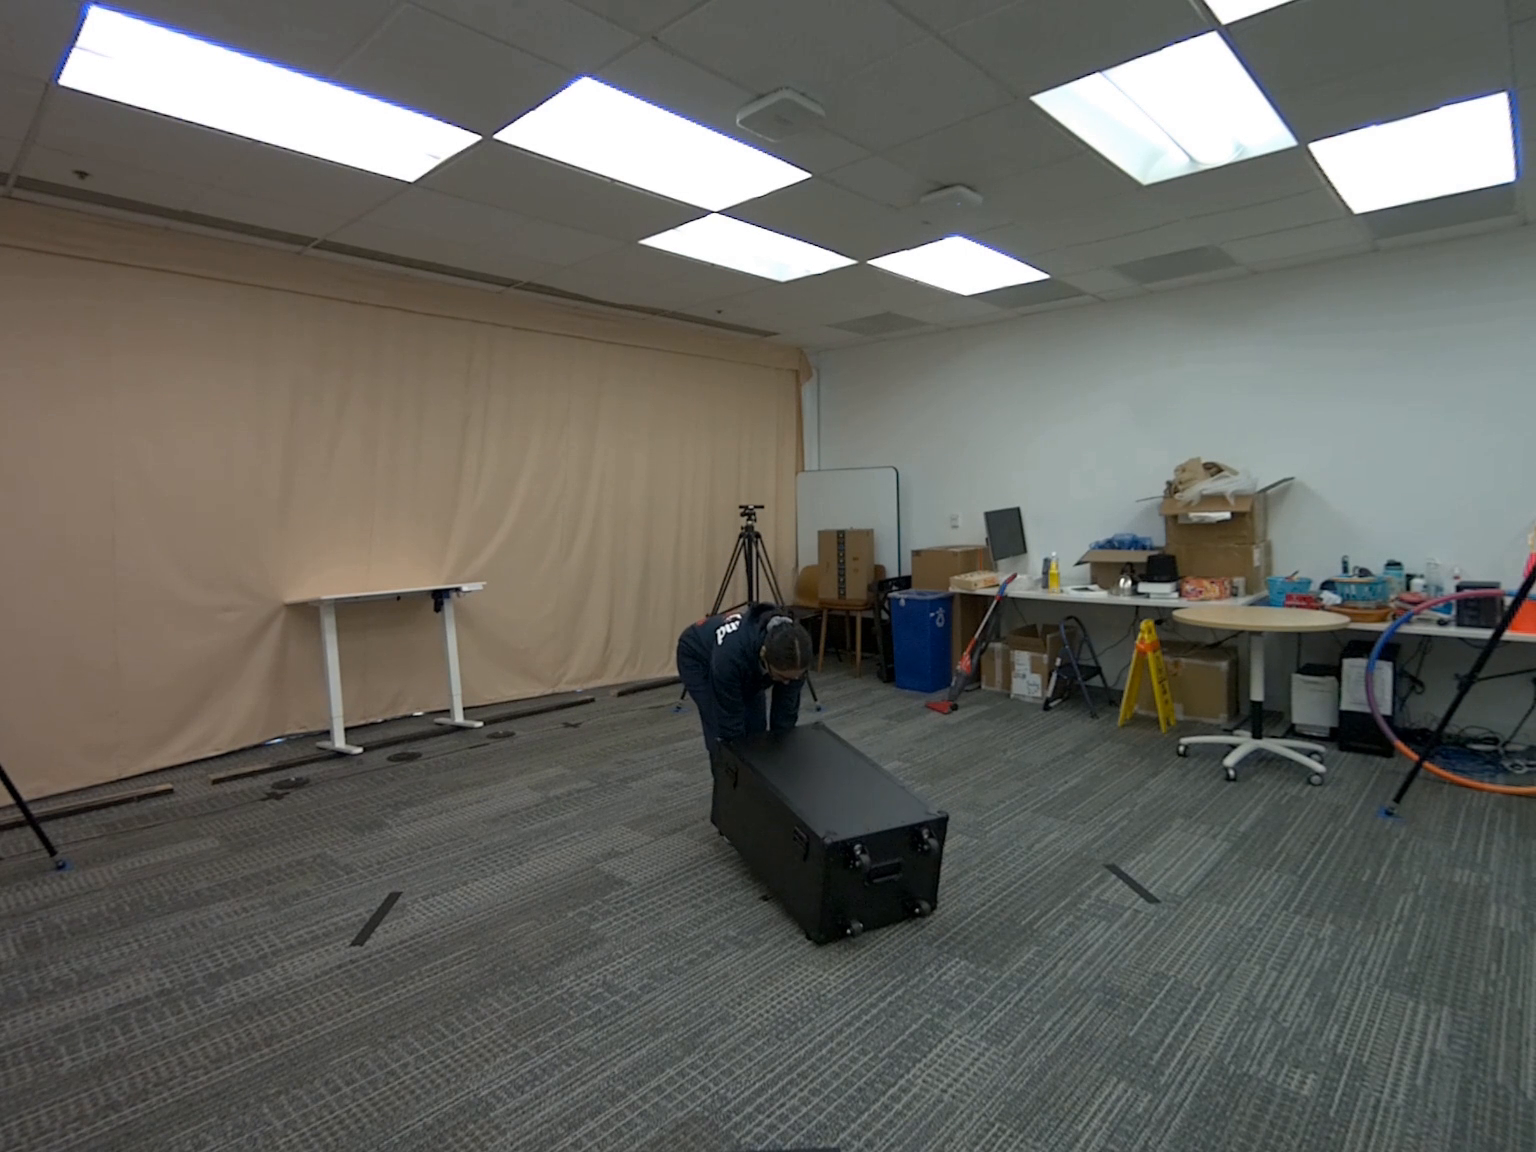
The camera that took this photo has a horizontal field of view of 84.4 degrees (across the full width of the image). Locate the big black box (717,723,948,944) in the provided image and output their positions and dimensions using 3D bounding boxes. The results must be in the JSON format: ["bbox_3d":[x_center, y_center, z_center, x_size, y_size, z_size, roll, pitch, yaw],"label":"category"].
[{"bbox_3d":[0.234,0.877,3.013,0.386,0.518,0.889,-2,13,-28],"label":"big black box"}]
